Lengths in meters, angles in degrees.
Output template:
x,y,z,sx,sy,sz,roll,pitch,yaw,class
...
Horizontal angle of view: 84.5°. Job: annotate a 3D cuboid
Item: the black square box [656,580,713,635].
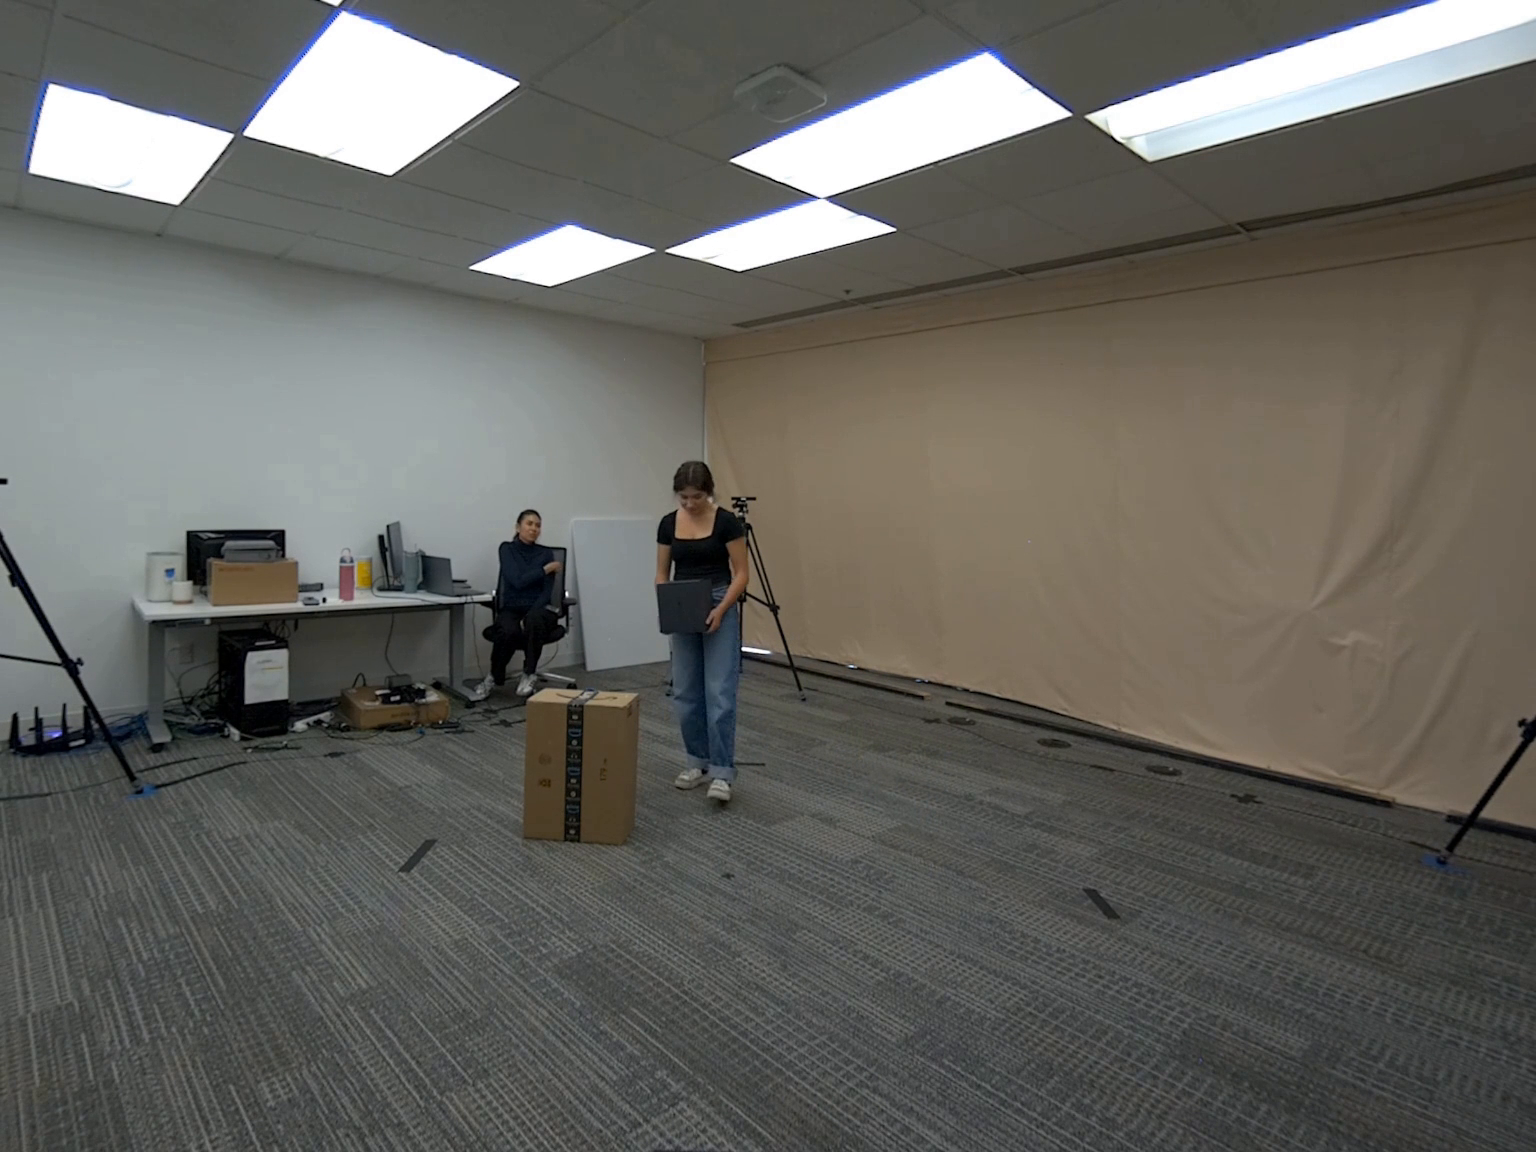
x,y,z,sx,sy,sz,roll,pitch,yaw,class
-0.392,0.132,3.877,0.219,0.227,0.155,-4,4,13,black square box
